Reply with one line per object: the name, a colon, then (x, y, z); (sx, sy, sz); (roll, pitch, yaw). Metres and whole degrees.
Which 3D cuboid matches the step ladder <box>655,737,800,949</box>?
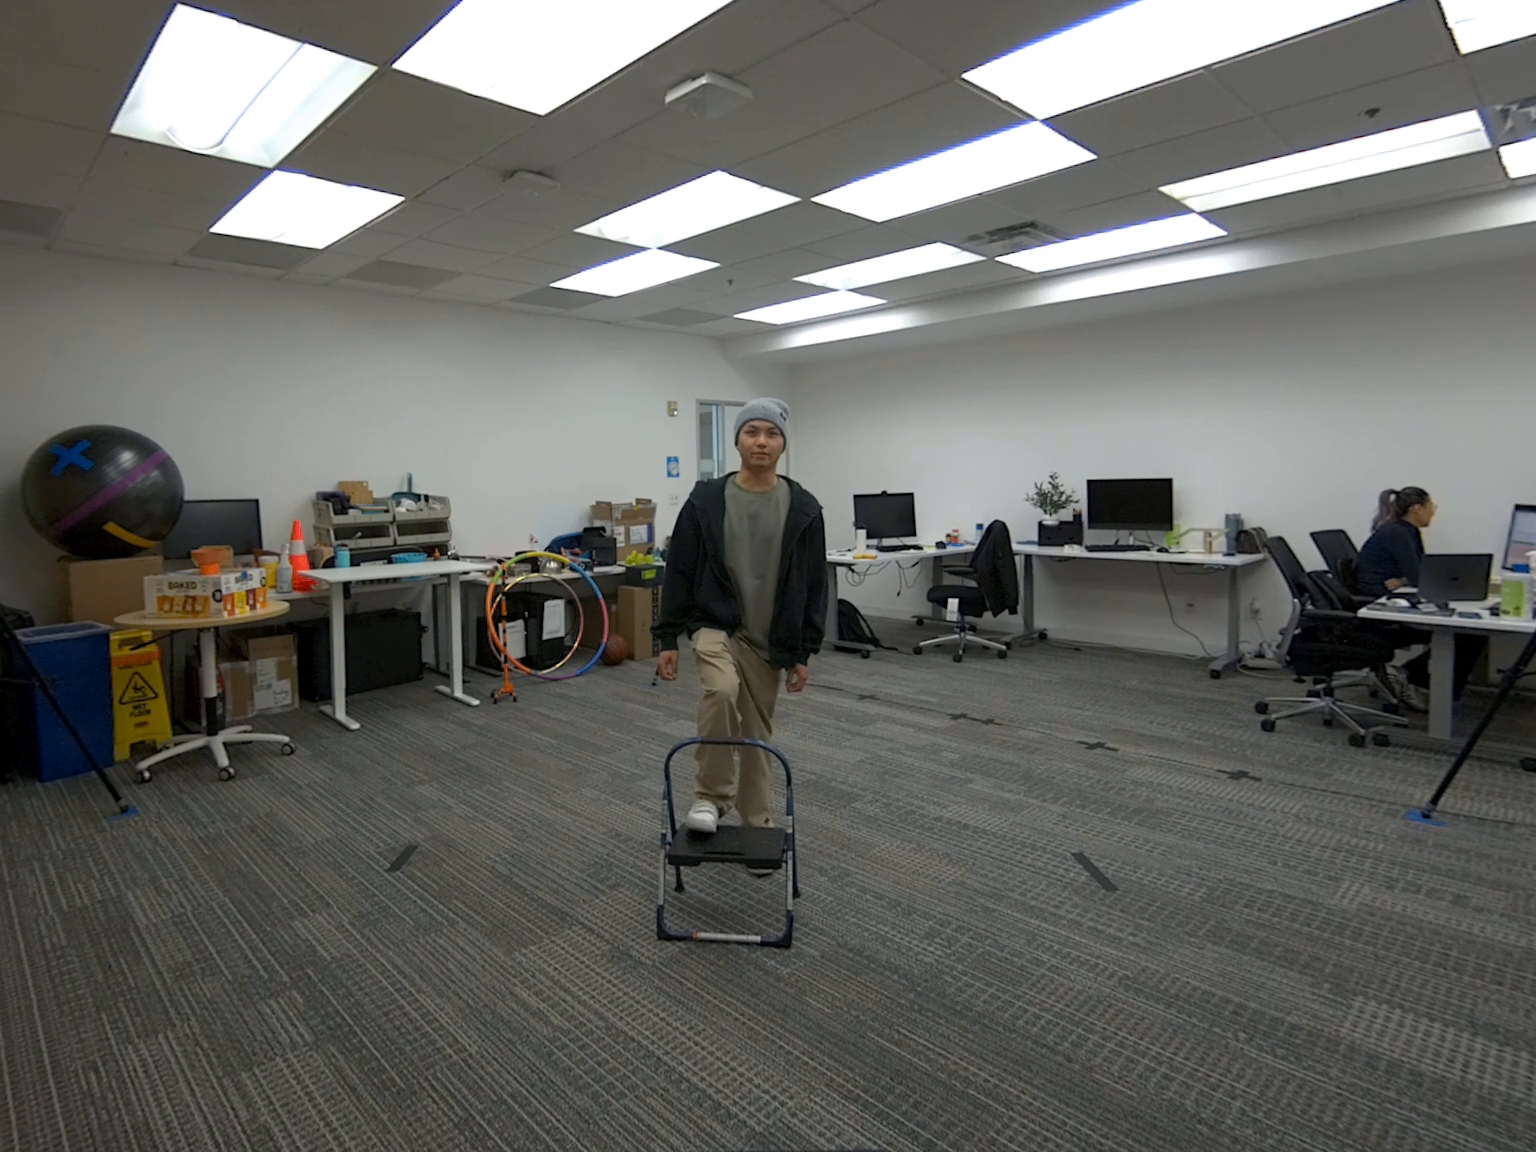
step ladder: (-0.121, 0.793, 2.717); (0.434, 0.604, 0.348); (0, 4, 6)
